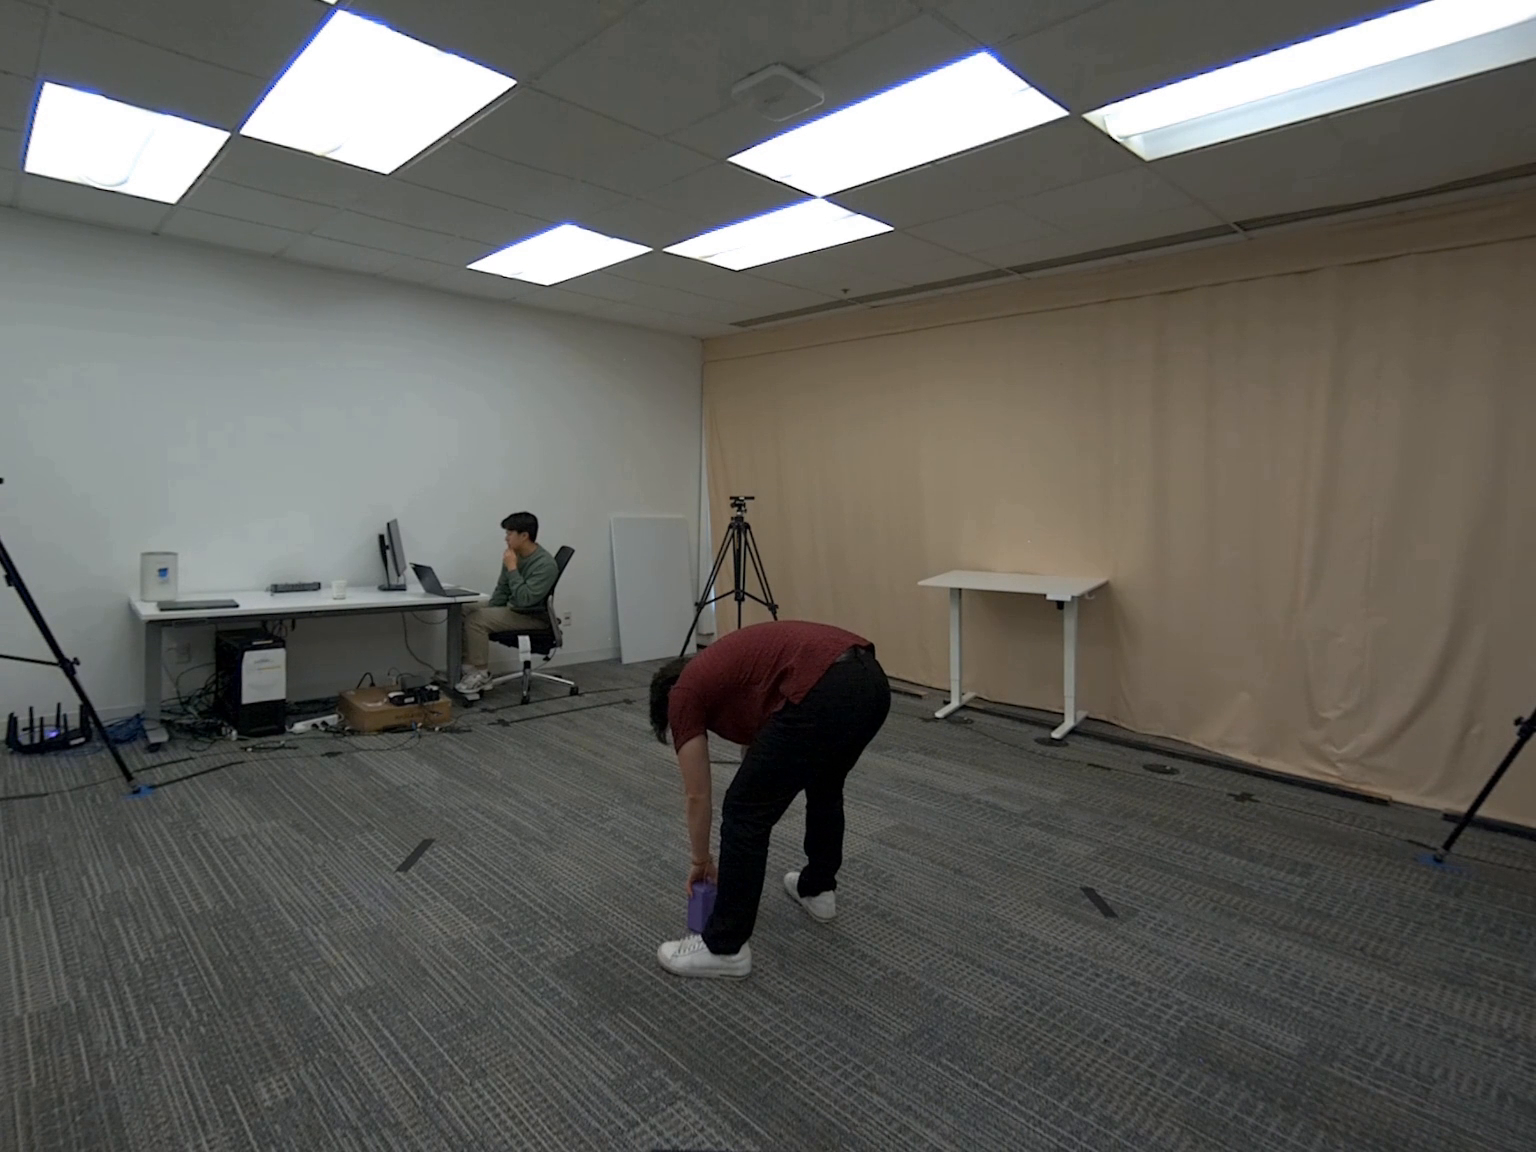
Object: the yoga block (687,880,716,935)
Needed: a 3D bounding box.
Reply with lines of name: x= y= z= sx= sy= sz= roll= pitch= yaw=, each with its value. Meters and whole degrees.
yoga block: x=-0.163 y=1.064 z=2.765 sx=0.078 sy=0.148 sz=0.224 roll=8 pitch=7 yaw=35
